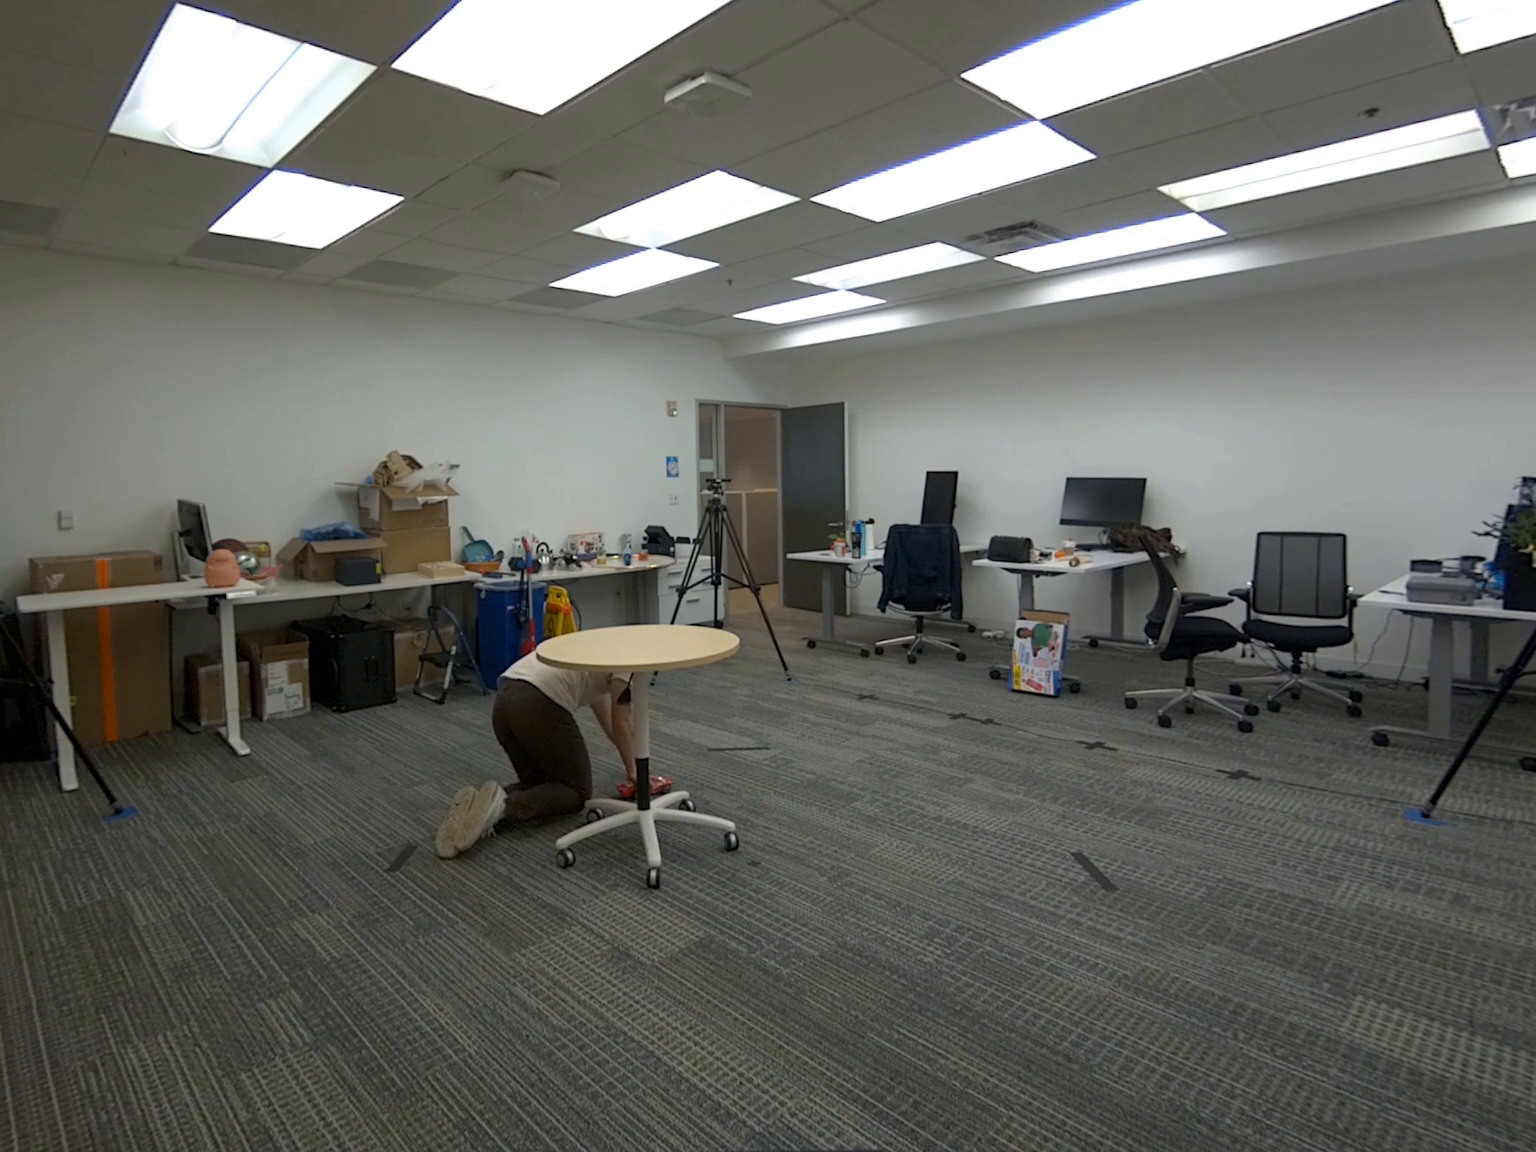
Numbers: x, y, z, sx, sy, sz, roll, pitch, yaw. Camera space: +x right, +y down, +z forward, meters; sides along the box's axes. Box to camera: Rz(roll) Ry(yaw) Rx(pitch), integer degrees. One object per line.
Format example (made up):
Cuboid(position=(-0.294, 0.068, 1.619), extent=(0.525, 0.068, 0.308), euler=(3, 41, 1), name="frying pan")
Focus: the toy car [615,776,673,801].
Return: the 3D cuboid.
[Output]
Cuboid(position=(-0.560, 0.939, 3.813), extent=(0.248, 0.083, 0.134), euler=(9, -1, -28), name="toy car")
